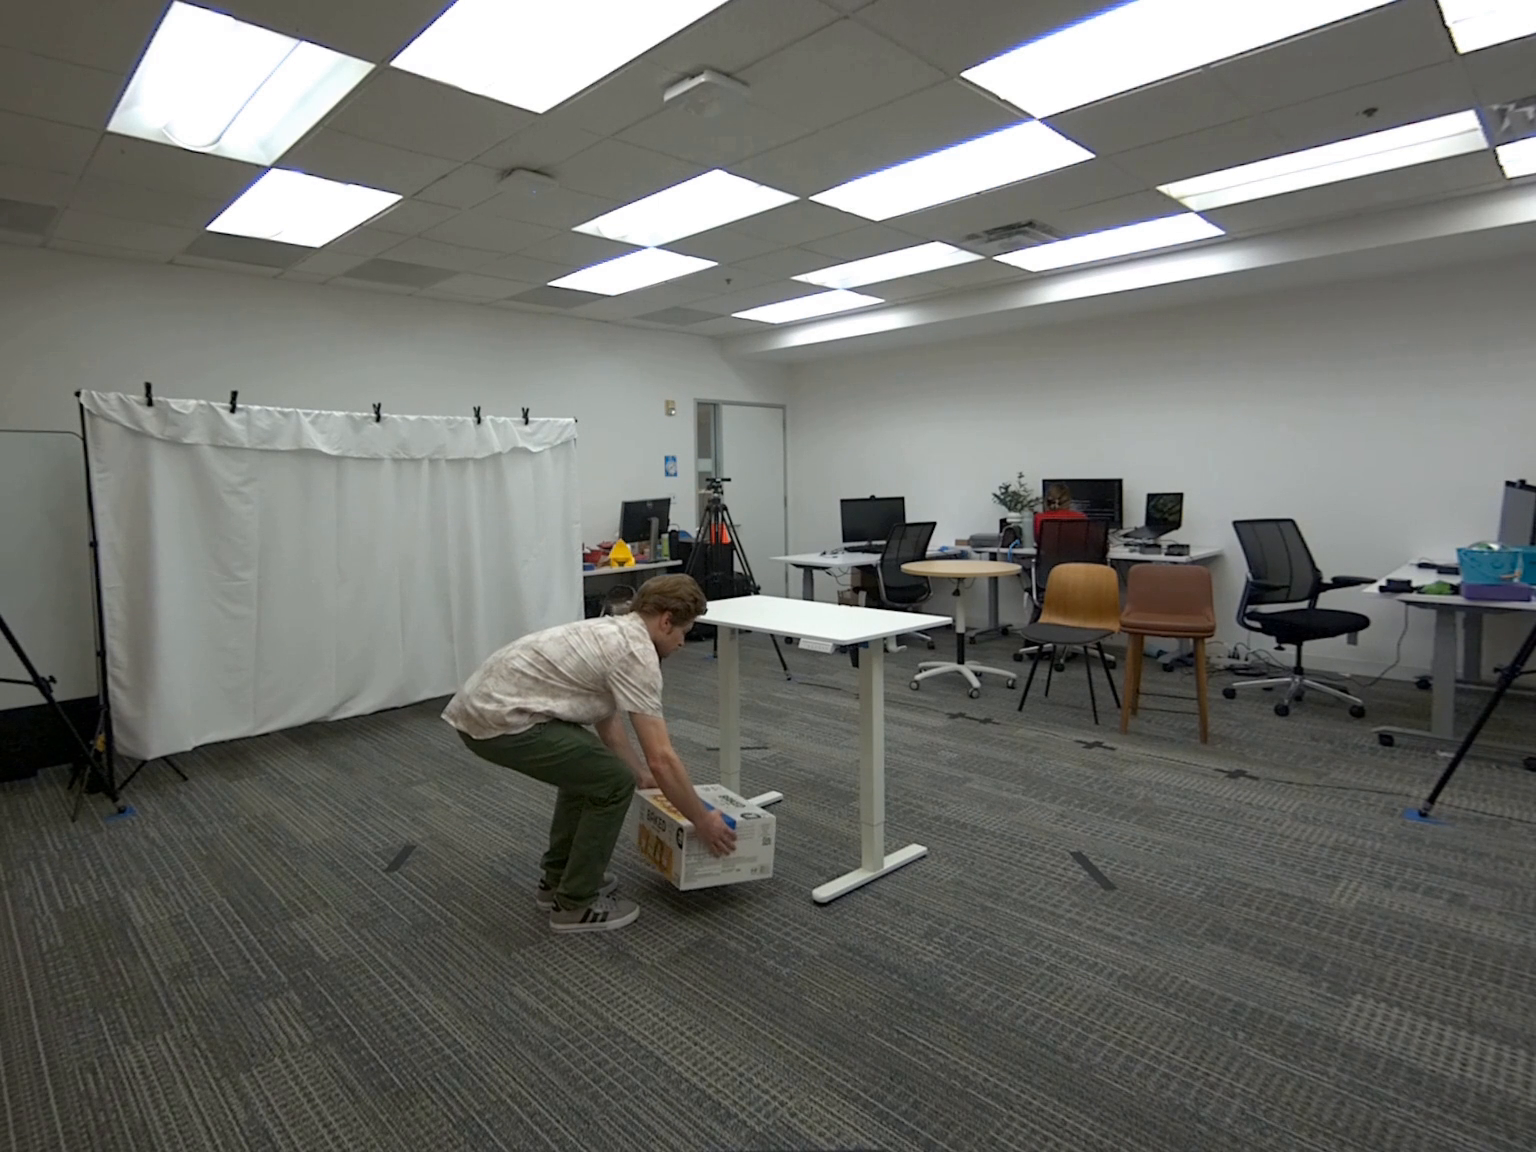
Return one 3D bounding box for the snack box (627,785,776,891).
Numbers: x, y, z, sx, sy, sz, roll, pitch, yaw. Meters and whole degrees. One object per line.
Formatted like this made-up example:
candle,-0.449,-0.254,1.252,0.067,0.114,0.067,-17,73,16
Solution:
snack box,-0.230,0.874,2.903,0.331,0.206,0.416,4,1,-30
